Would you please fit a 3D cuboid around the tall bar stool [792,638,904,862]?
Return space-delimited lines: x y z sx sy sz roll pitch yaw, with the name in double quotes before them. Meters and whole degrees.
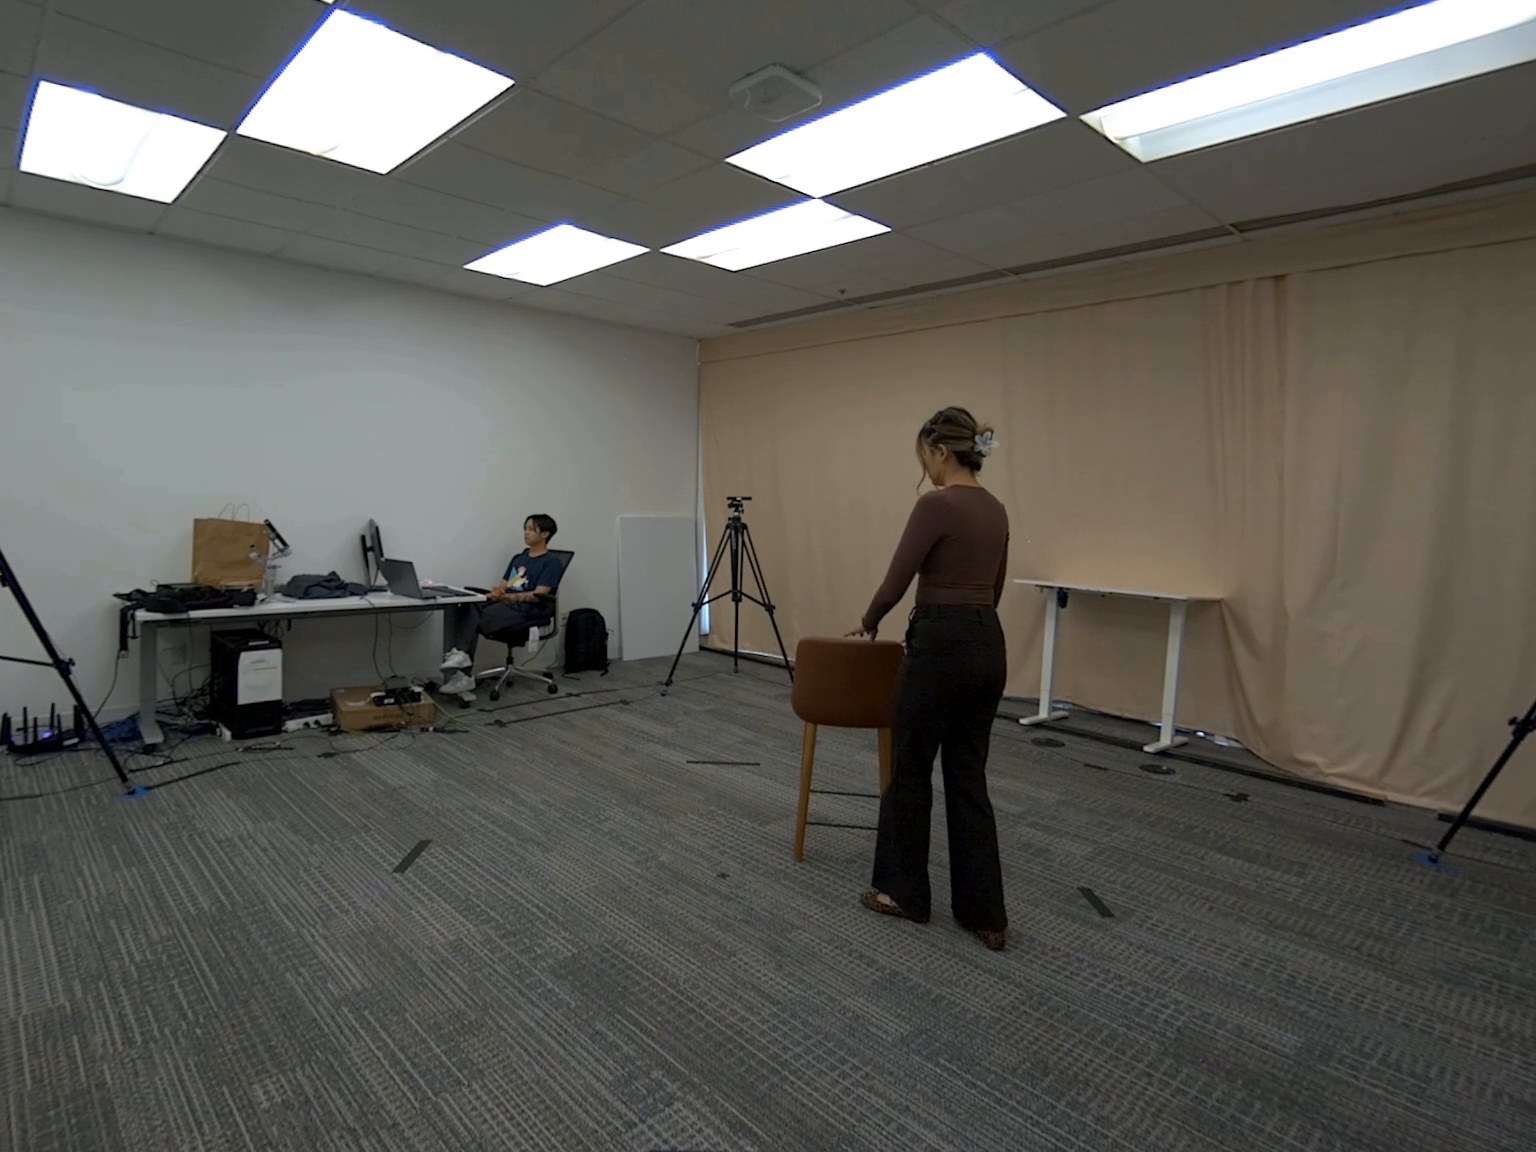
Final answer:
"tall bar stool" 0.323 0.654 3.393 0.461 0.886 0.465 2 5 11
